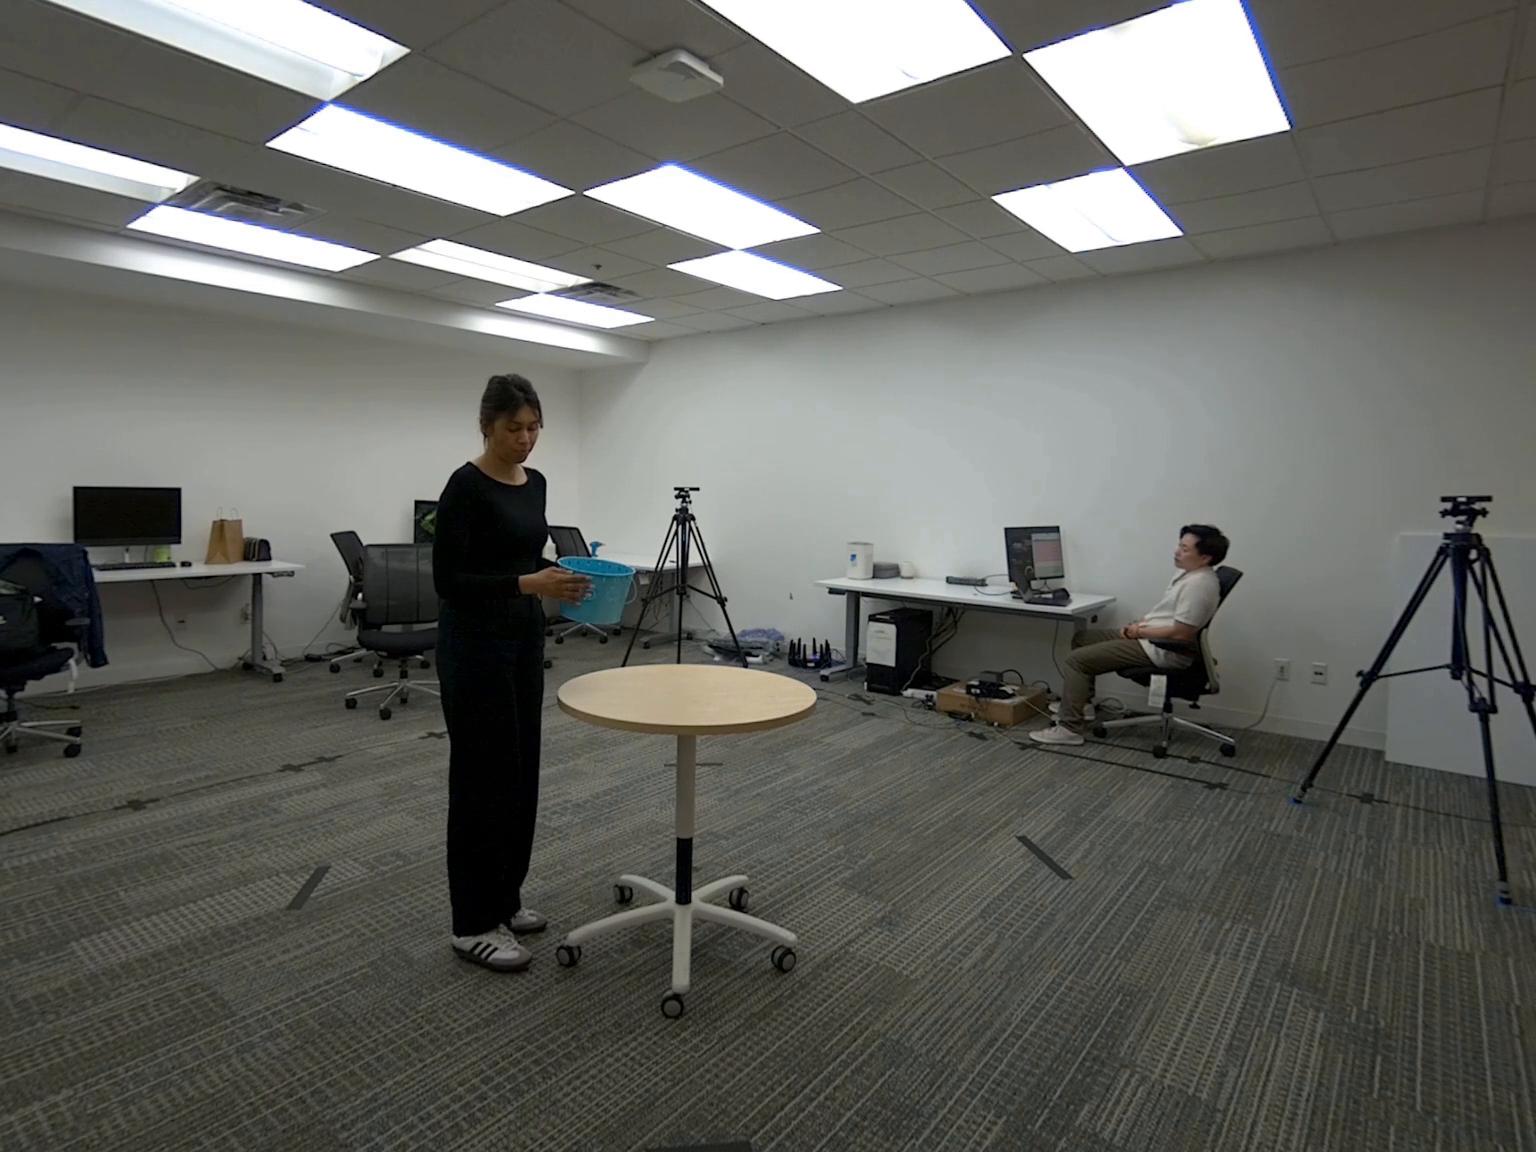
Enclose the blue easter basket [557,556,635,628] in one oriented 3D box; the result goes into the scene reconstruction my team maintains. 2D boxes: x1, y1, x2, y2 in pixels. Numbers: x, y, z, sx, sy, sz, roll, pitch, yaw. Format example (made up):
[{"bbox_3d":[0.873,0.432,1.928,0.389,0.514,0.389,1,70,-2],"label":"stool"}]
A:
[{"bbox_3d":[-0.526,0.049,2.506,0.243,0.154,0.246,4,10,-3],"label":"blue easter basket"}]
